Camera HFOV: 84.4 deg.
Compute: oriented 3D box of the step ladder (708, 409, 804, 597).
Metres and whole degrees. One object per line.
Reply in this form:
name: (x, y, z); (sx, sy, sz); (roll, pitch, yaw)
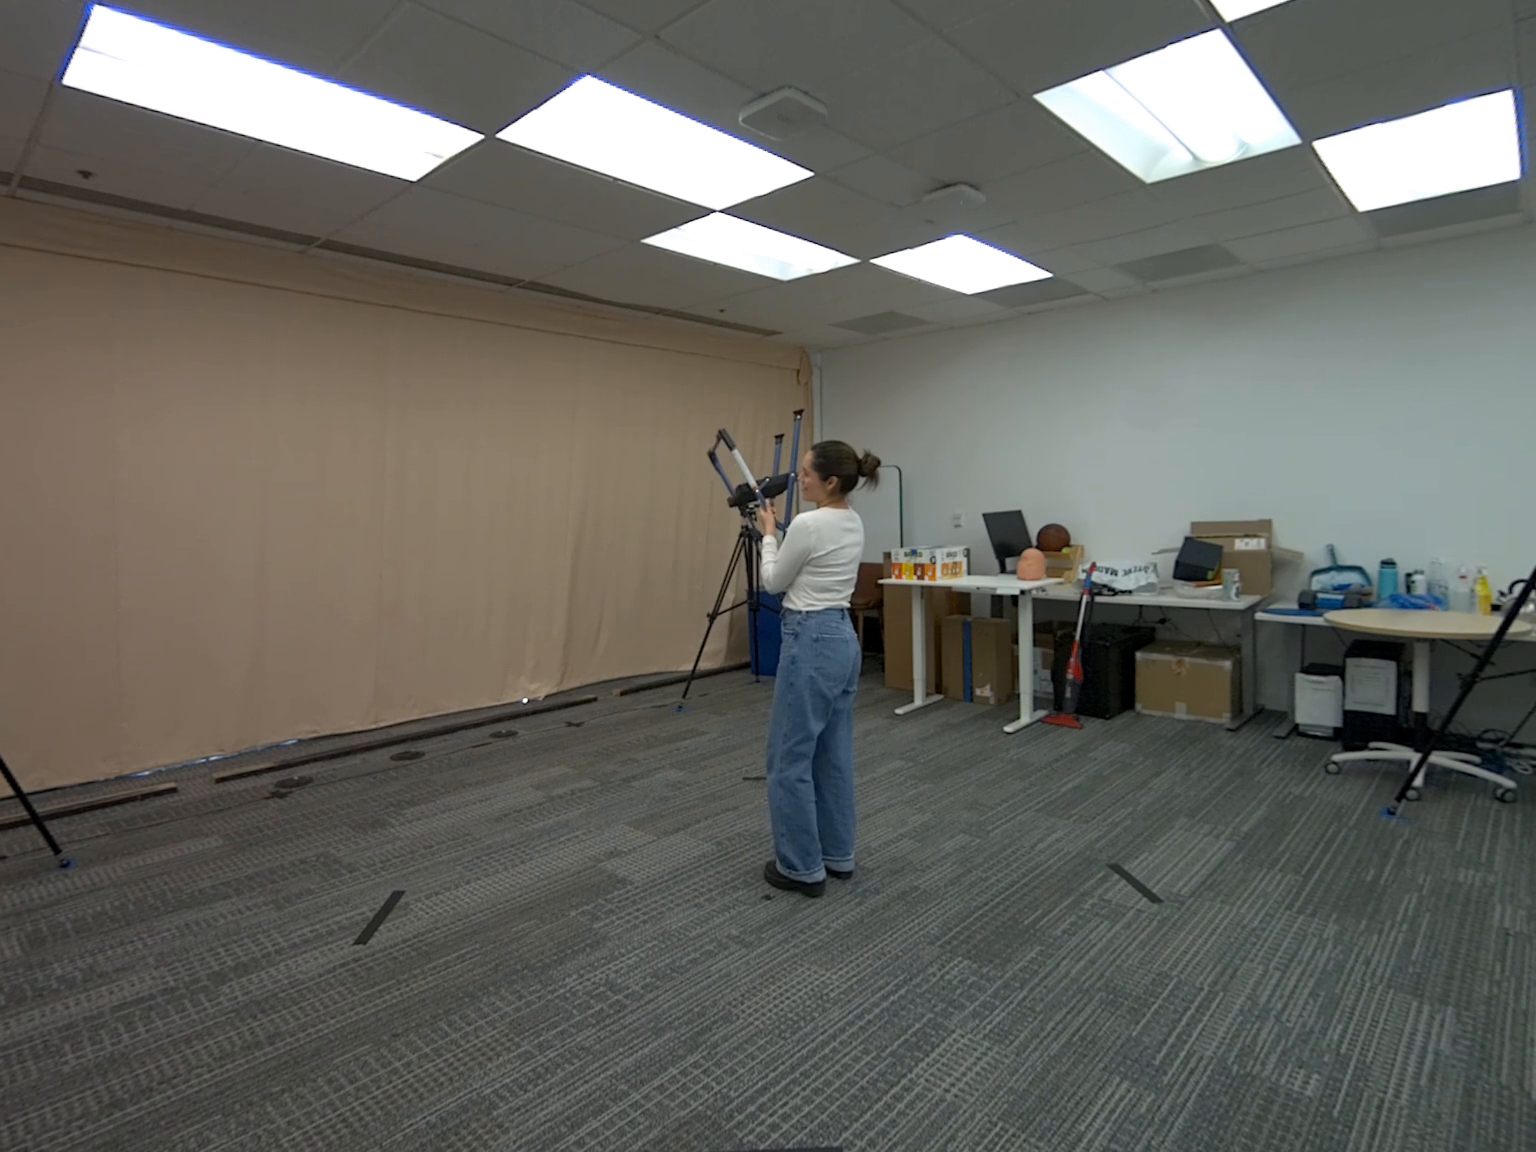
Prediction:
step ladder: (0.010, -0.299, 3.417); (0.346, 0.608, 0.432); (-14, -4, -10)
